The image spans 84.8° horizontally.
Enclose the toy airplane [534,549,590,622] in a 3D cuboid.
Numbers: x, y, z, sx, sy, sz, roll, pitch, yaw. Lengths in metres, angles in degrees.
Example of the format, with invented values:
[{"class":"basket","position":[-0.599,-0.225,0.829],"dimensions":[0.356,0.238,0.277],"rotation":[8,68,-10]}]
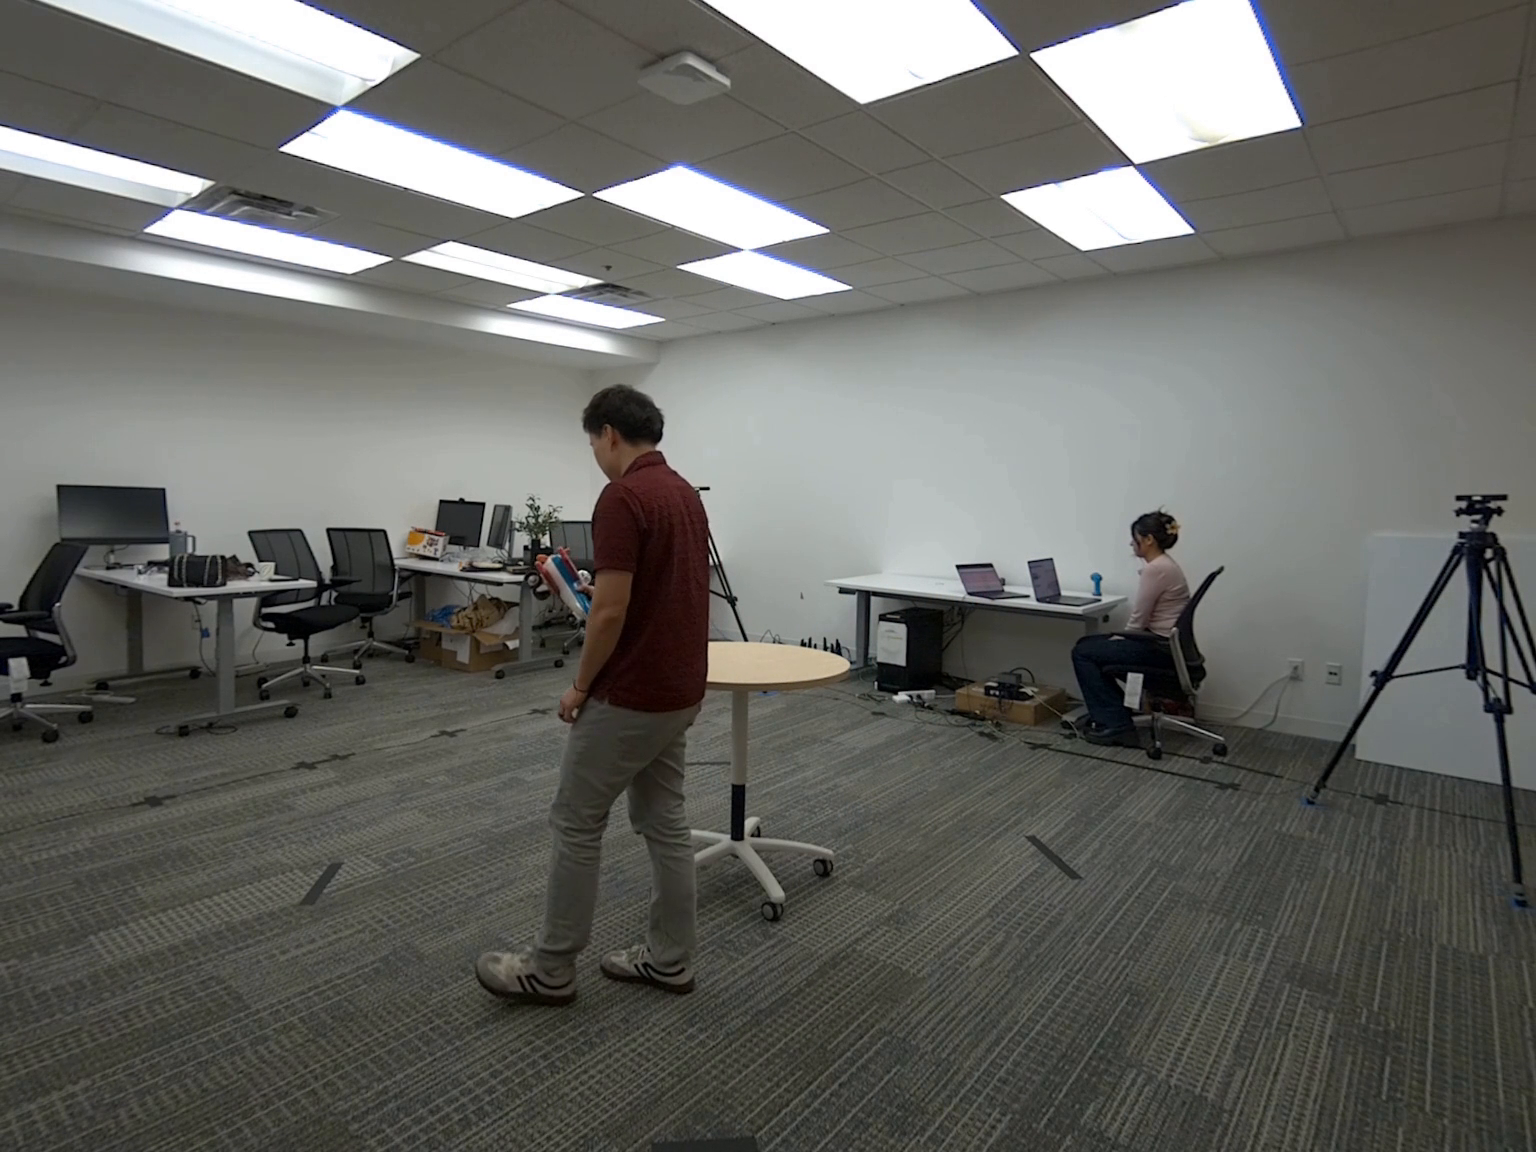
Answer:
[{"class":"toy airplane","position":[-0.642,0.048,2.651],"dimensions":[0.156,0.257,0.253],"rotation":[-47,7,-17]}]
